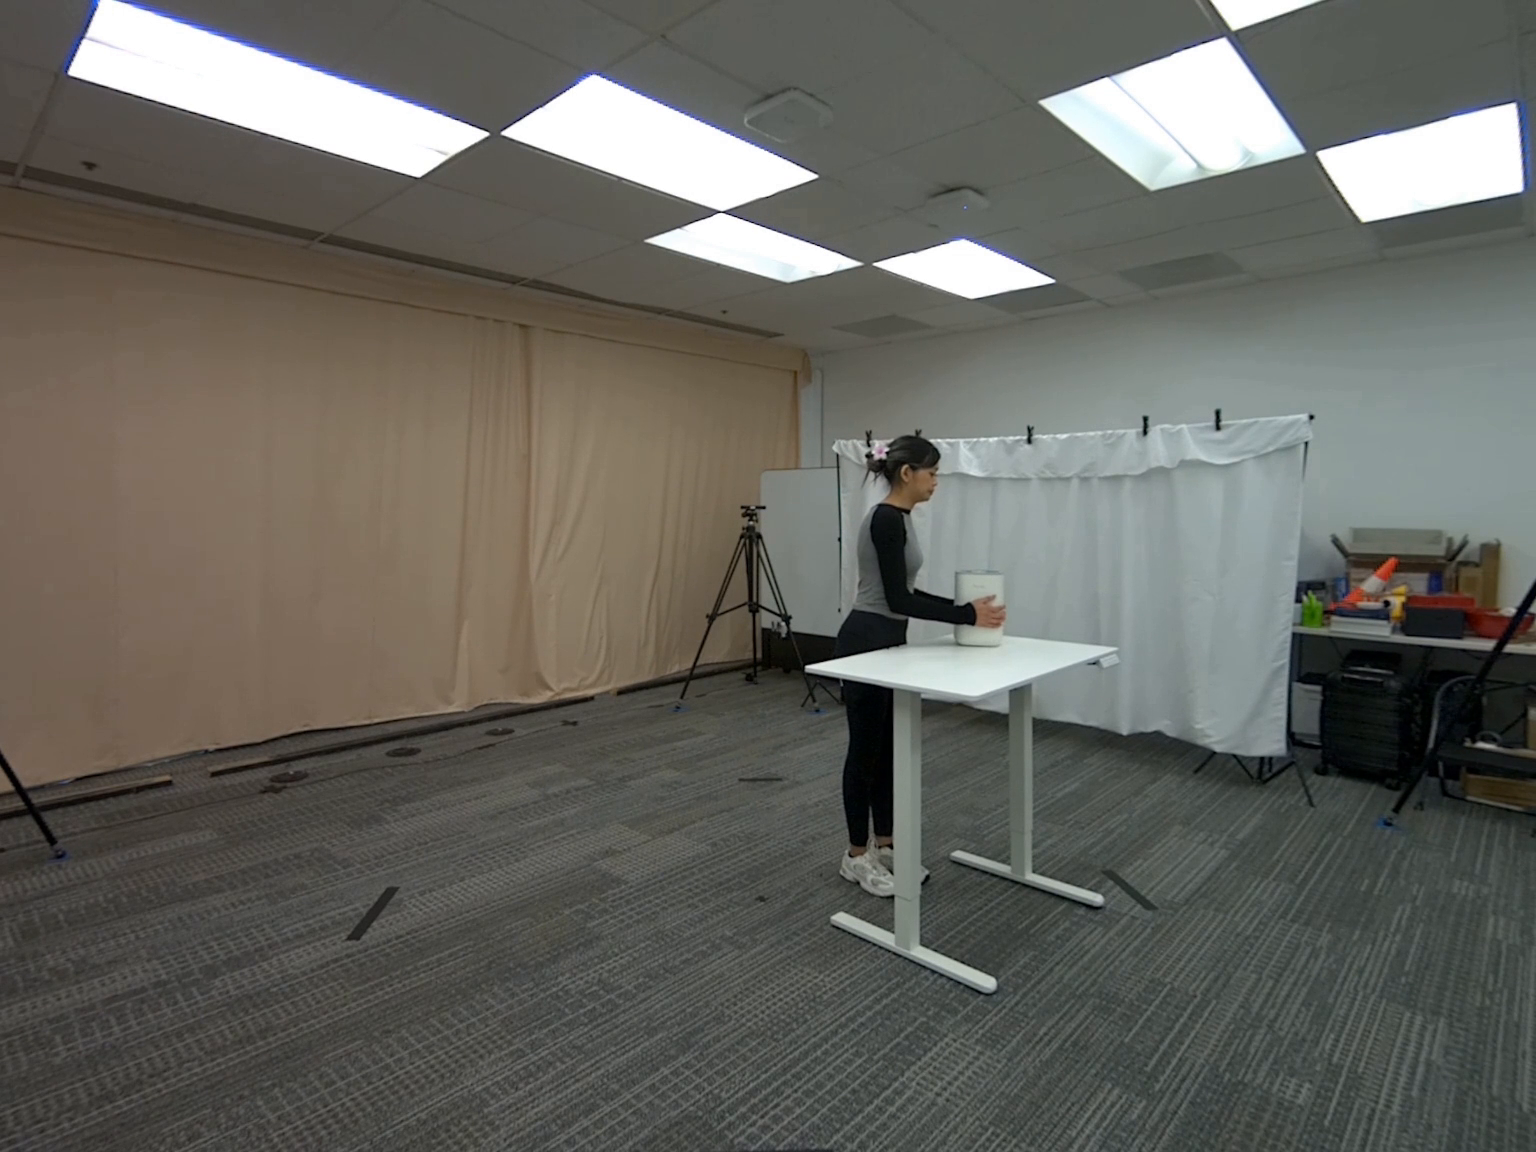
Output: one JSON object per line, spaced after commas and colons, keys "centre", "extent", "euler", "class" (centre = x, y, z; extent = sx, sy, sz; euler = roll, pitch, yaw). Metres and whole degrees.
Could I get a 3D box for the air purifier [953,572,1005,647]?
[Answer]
{"centre": [0.780, 0.119, 3.068], "extent": [0.173, 0.265, 0.170], "euler": [0, 4, 11], "class": "air purifier"}
